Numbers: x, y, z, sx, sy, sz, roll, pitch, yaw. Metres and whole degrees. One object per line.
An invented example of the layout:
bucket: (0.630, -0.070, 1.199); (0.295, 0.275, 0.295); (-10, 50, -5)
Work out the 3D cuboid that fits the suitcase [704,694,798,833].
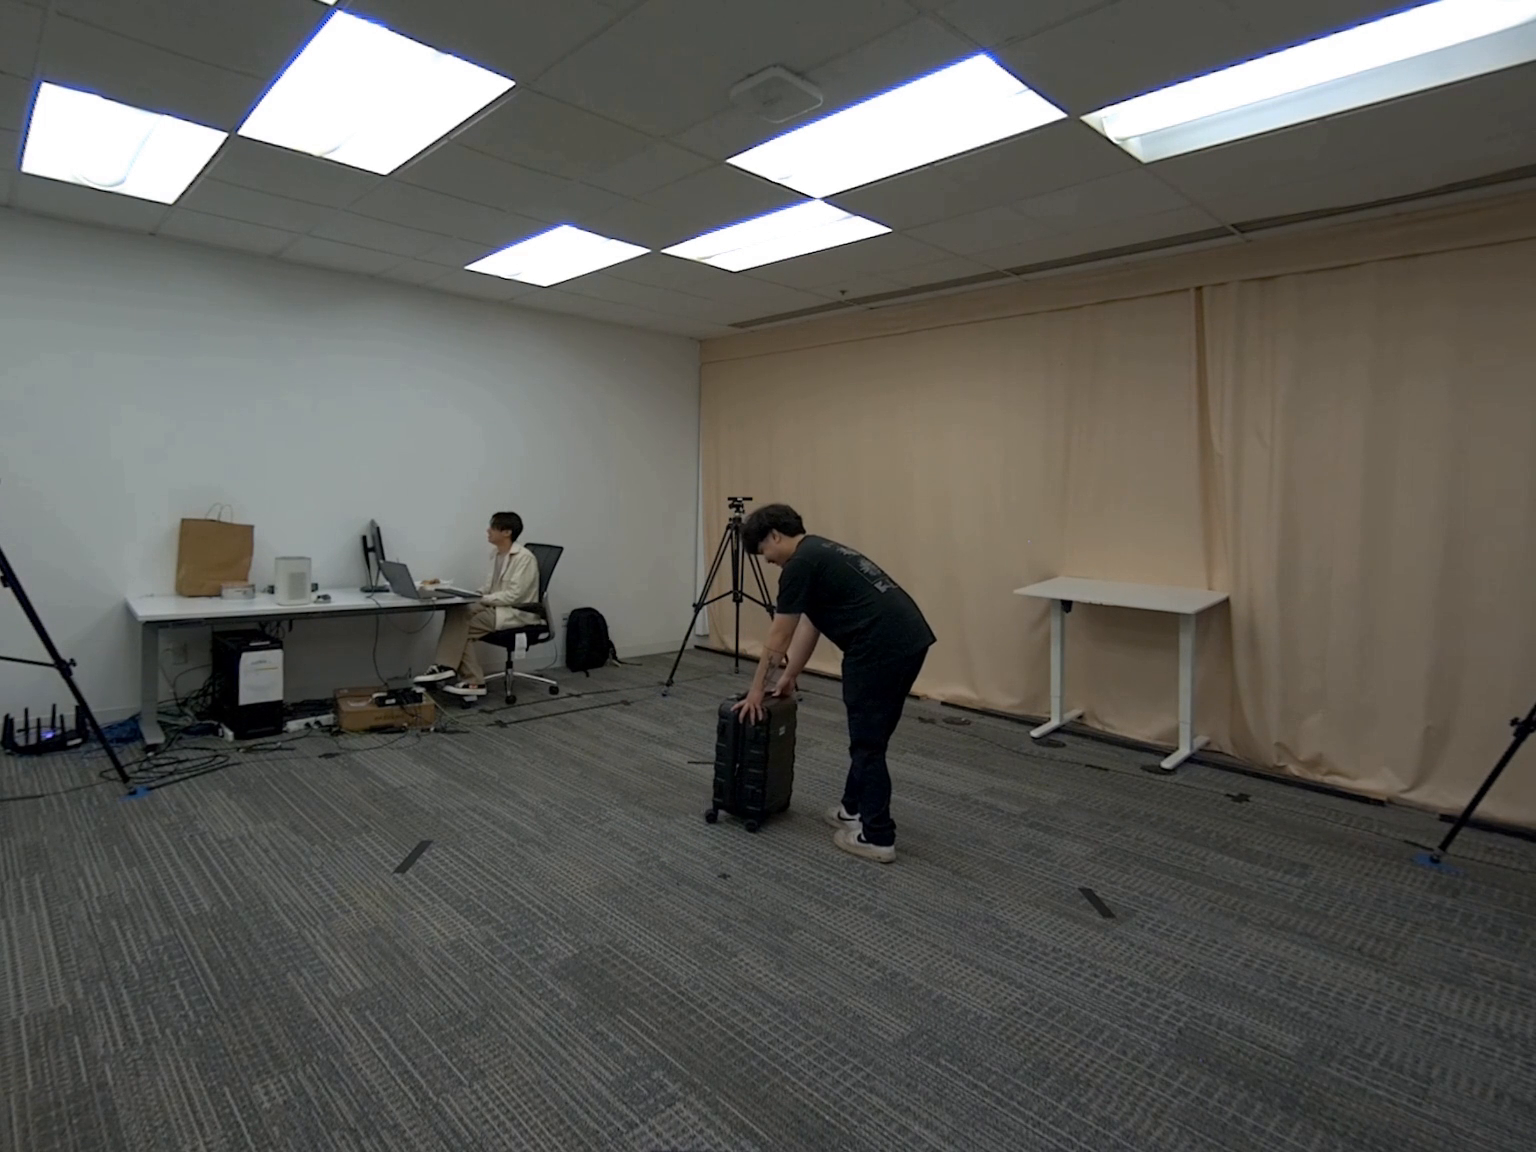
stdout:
suitcase: (-0.060, 0.784, 3.694); (0.254, 0.548, 0.368); (6, 4, 27)
